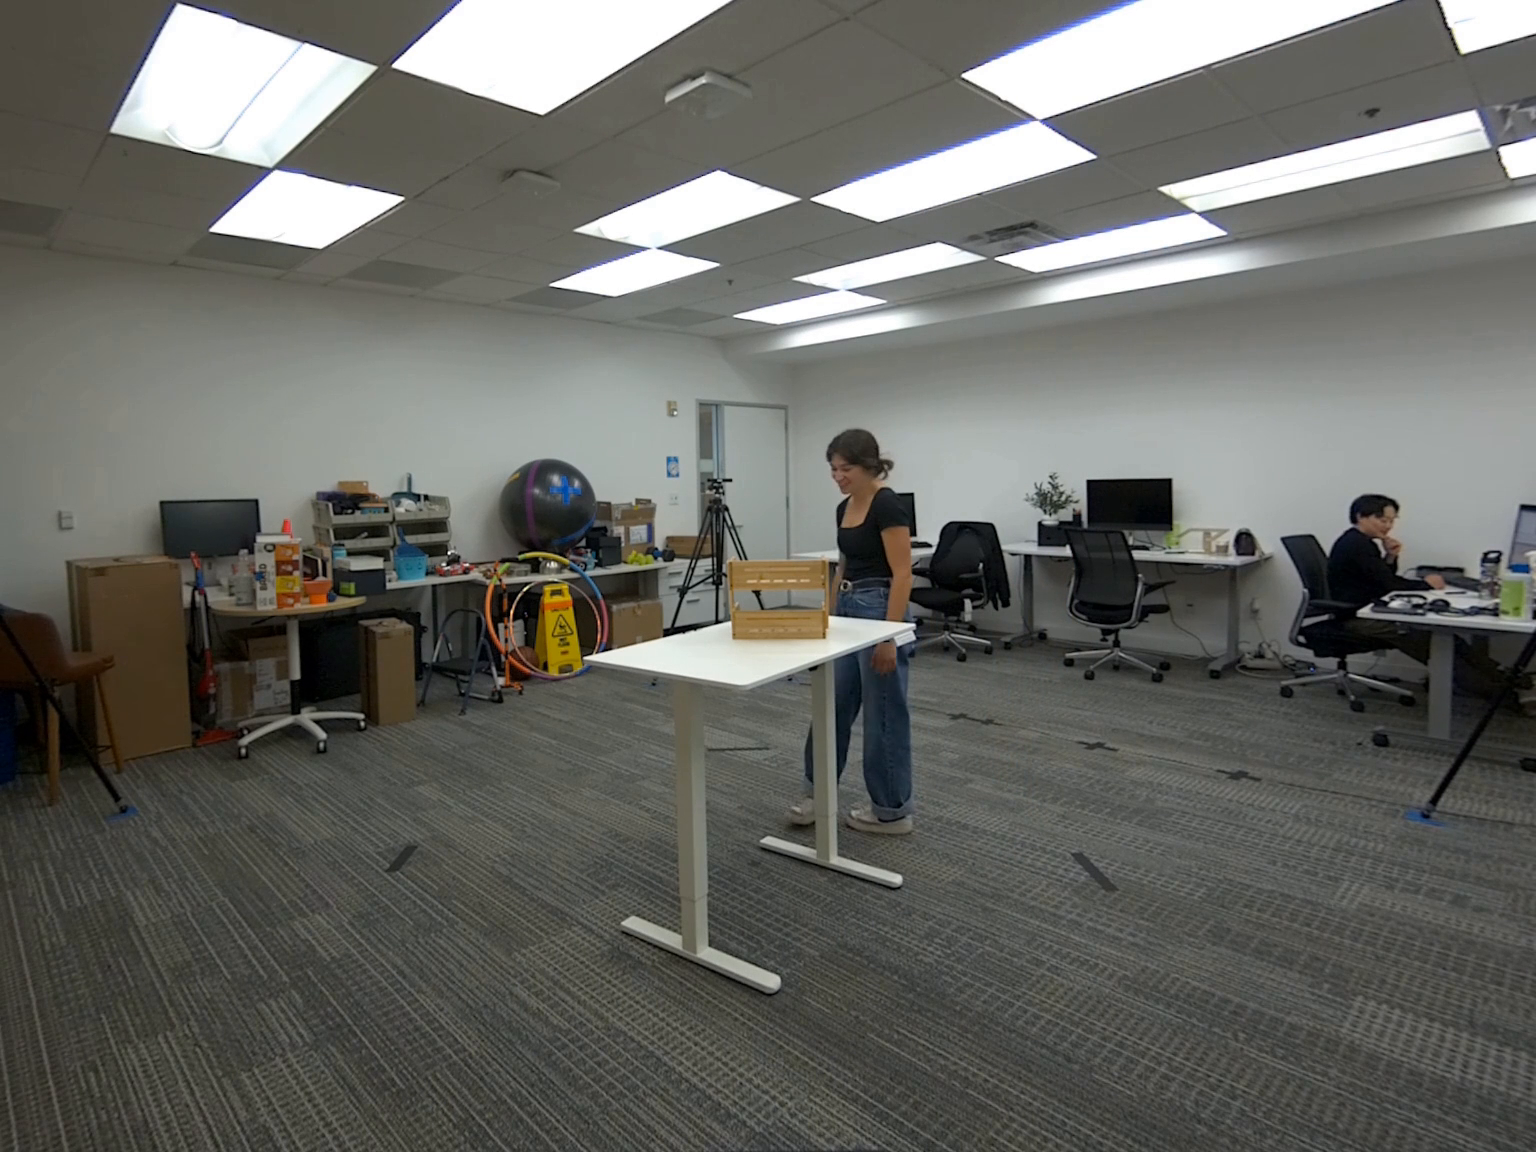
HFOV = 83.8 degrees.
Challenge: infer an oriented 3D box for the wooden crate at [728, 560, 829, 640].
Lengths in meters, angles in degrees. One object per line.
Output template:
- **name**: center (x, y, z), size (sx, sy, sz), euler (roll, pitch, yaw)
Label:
- **wooden crate**: center (0.045, 0.062, 2.832), size (0.326, 0.272, 0.302), euler (-1, 6, 4)
